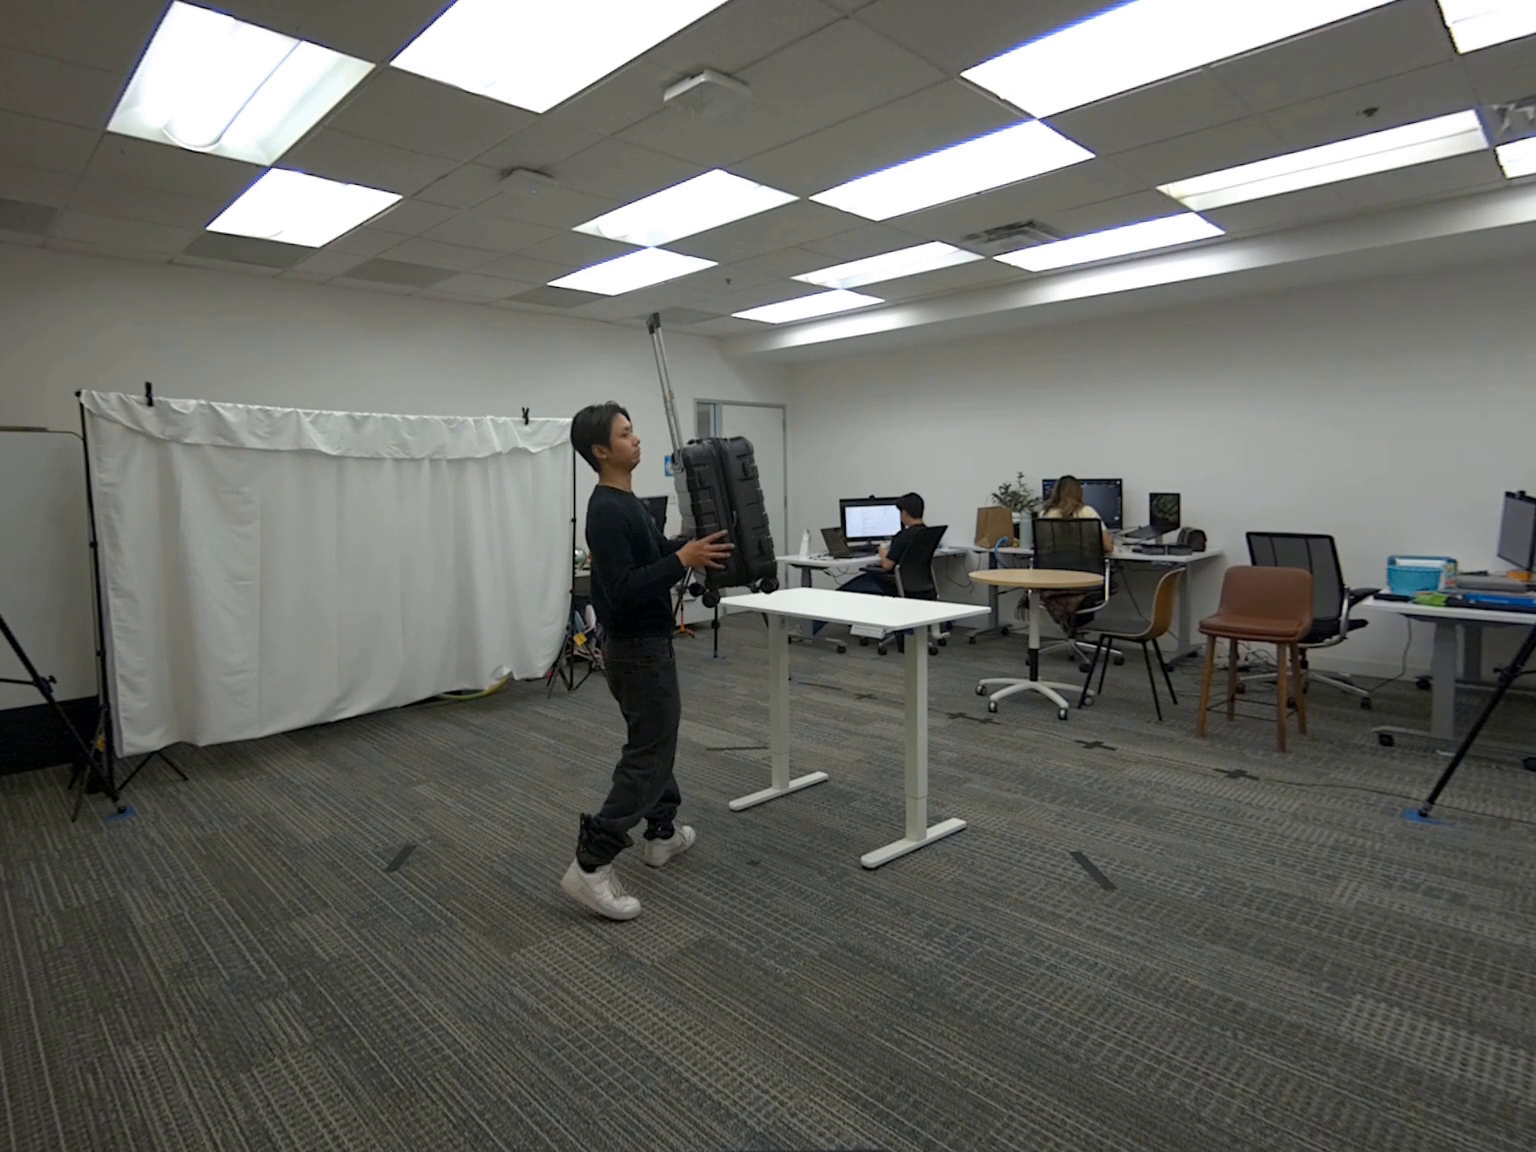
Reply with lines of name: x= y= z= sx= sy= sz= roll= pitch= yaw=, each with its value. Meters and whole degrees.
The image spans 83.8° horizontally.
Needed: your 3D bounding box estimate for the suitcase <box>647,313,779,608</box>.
suitcase: x=-0.194 y=-0.406 z=2.923 sx=0.255 sy=0.974 sz=0.389 roll=-11 pitch=5 yaw=-12
